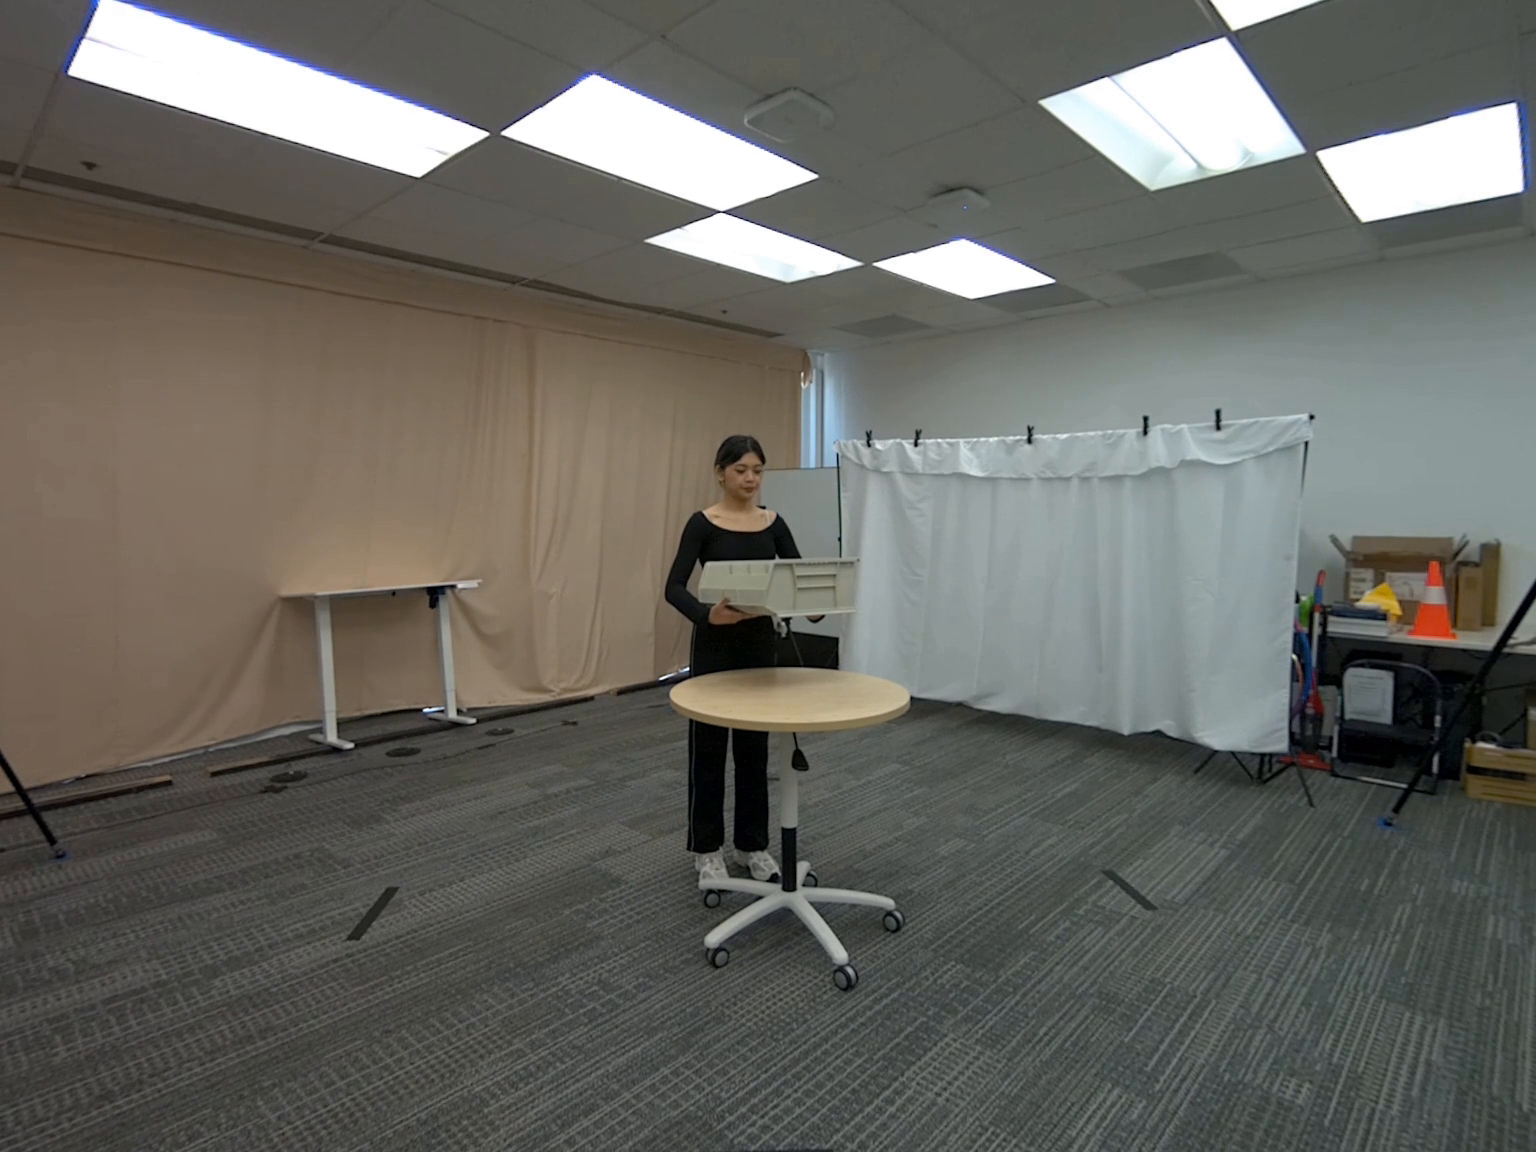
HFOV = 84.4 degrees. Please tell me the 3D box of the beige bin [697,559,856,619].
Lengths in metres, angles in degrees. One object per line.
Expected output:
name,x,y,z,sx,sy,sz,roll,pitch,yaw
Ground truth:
beige bin,0.031,0.036,2.846,0.366,0.189,0.434,0,0,-33
